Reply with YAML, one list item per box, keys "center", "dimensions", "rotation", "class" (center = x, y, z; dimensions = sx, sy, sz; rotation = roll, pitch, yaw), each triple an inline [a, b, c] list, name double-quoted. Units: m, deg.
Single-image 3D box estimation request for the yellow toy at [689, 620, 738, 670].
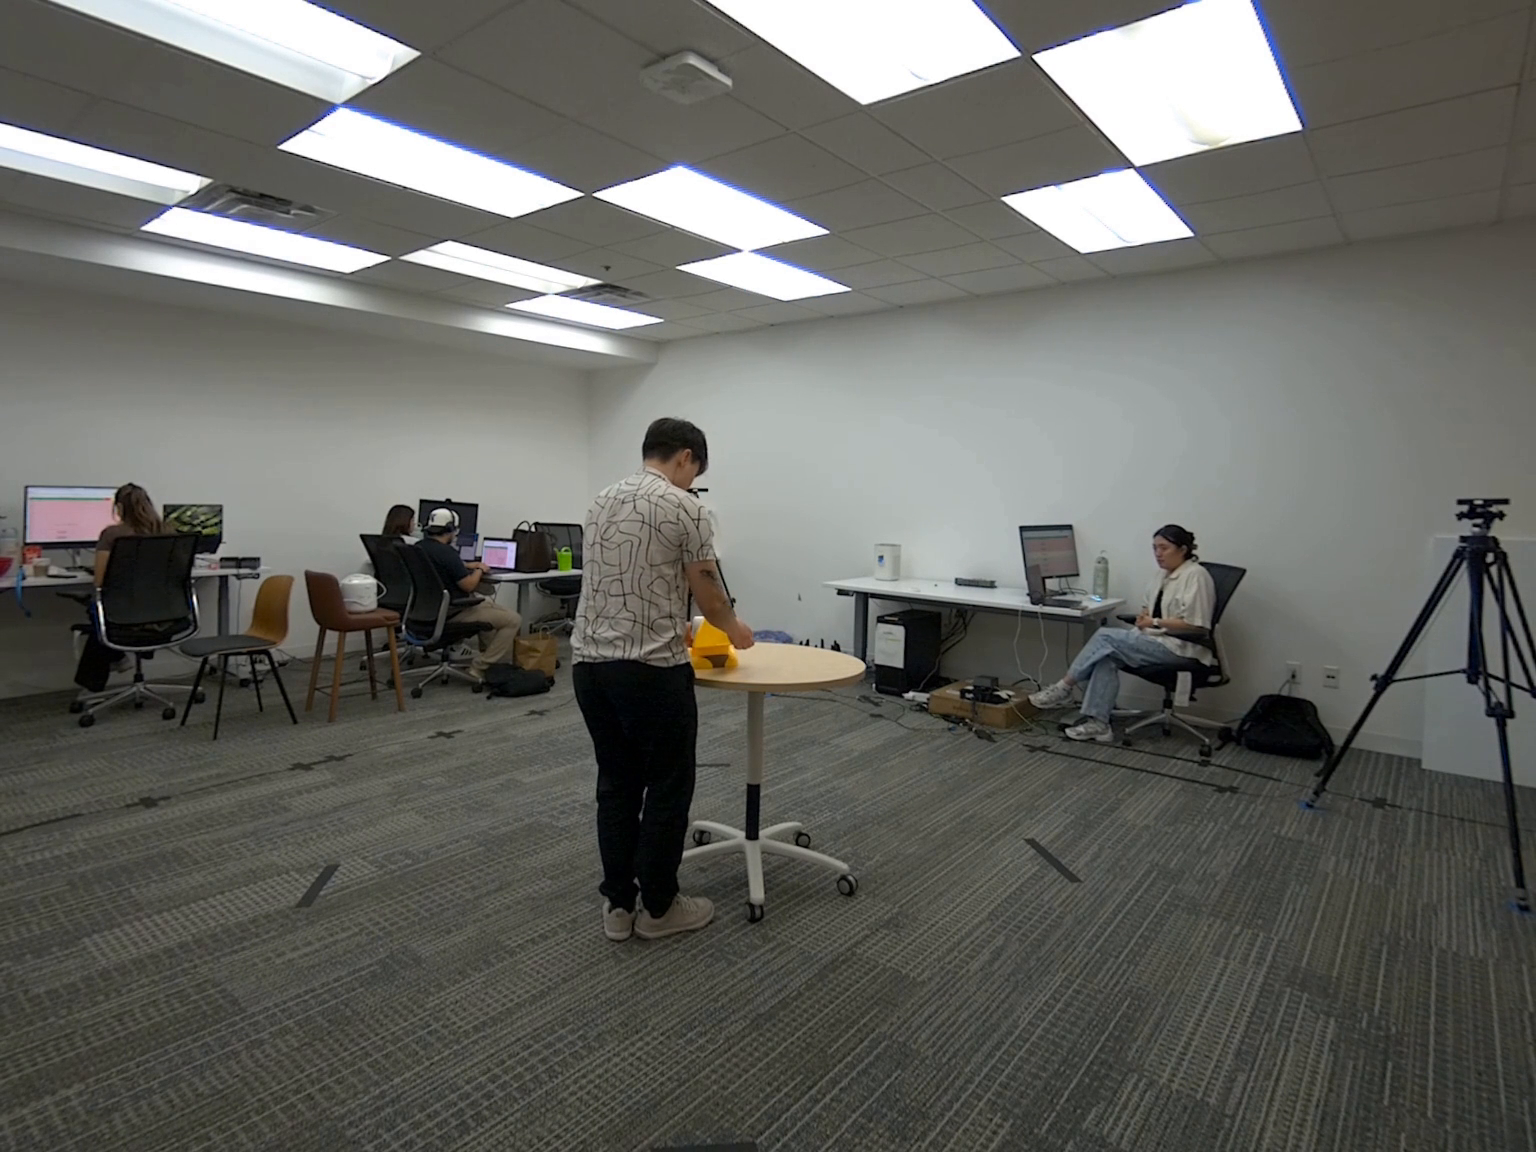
- center: [-0.203, 0.189, 2.931]
  dimensions: [0.199, 0.230, 0.199]
  rotation: [-3, 5, -30]
  class: "yellow toy"
